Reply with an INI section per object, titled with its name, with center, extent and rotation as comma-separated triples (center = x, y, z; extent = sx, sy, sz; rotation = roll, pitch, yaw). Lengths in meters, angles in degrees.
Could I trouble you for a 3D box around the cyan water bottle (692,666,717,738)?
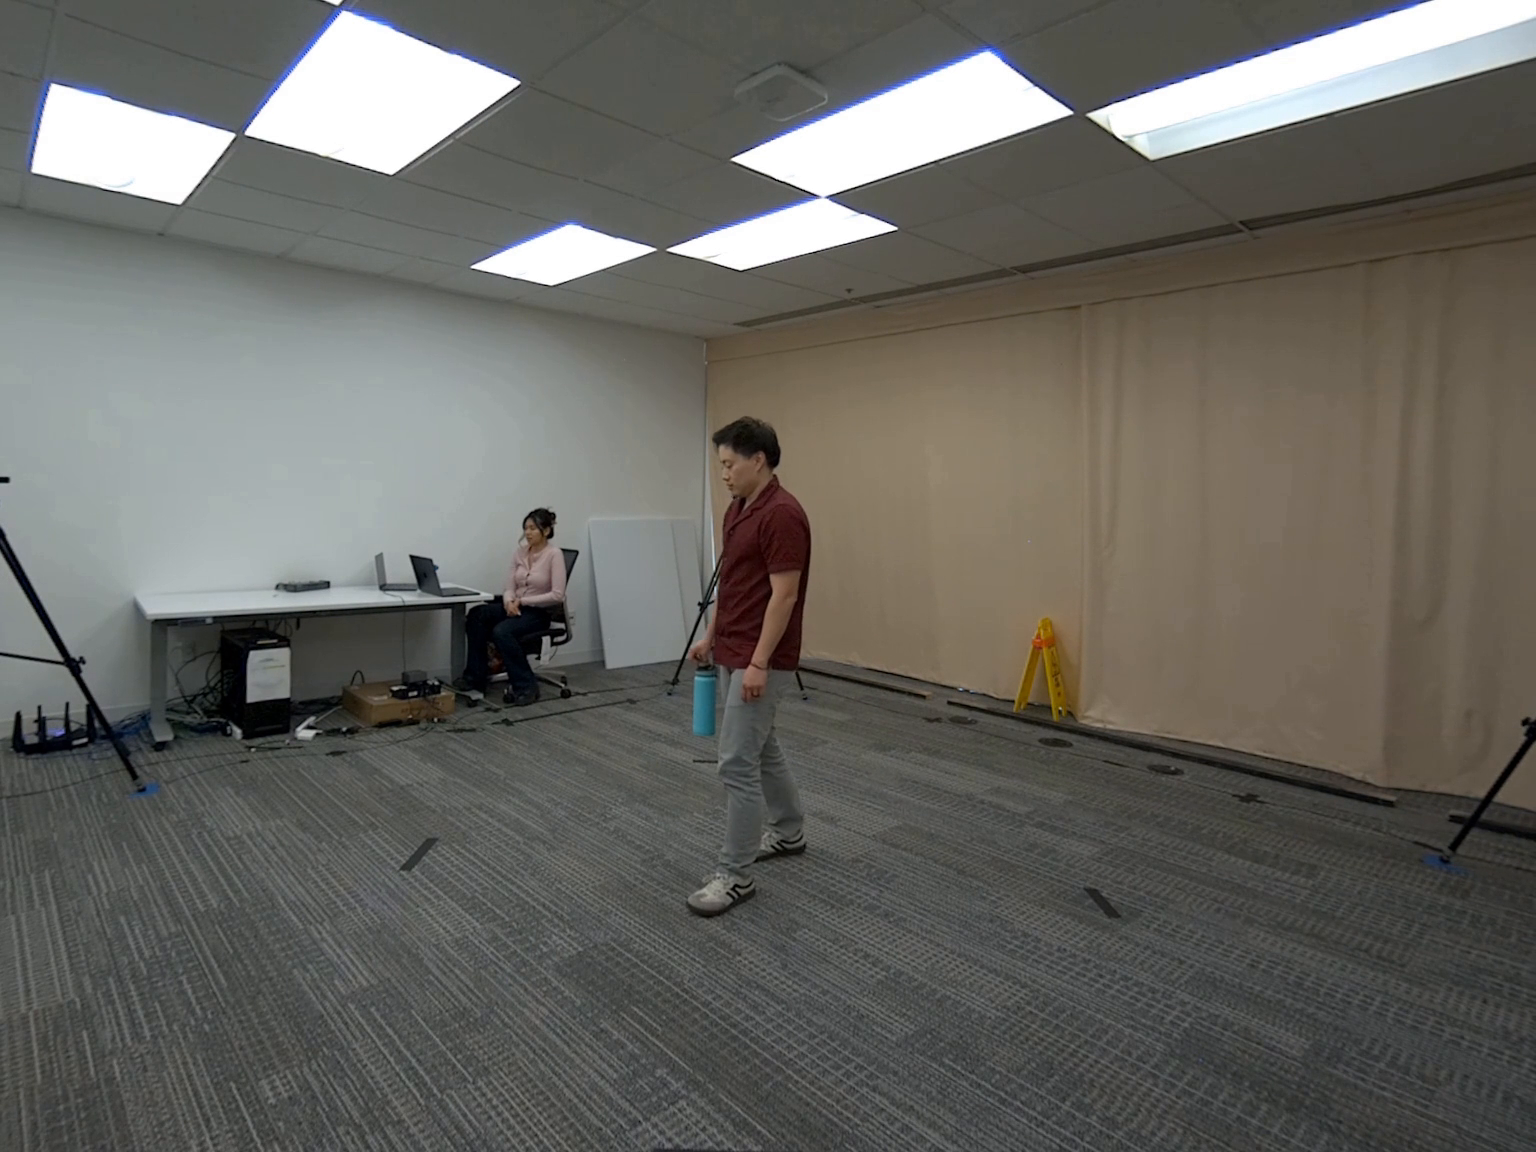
[cyan water bottle]
center = -0.255, 0.476, 3.294
extent = 0.092, 0.283, 0.092
rotation = 1, 0, -1
